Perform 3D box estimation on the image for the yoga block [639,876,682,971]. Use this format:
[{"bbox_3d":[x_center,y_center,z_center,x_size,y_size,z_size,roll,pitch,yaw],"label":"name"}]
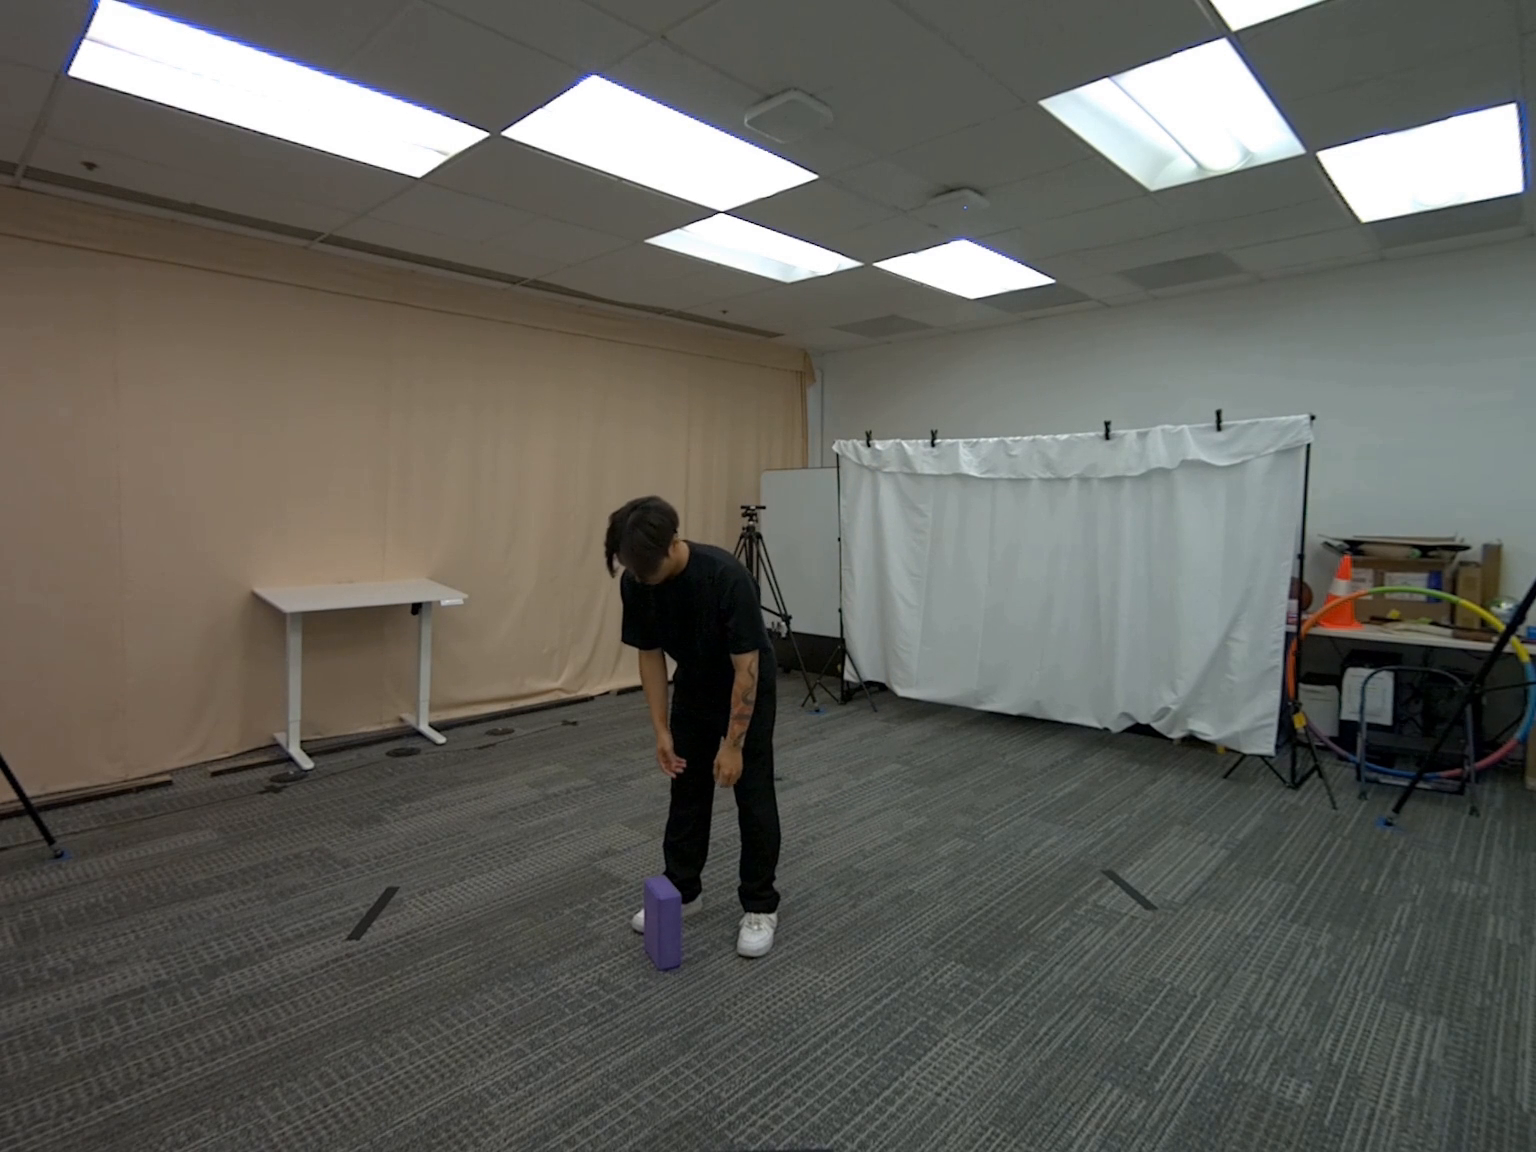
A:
[{"bbox_3d":[-0.322,1.055,2.592,0.075,0.229,0.153,0,5,-23],"label":"yoga block"}]
